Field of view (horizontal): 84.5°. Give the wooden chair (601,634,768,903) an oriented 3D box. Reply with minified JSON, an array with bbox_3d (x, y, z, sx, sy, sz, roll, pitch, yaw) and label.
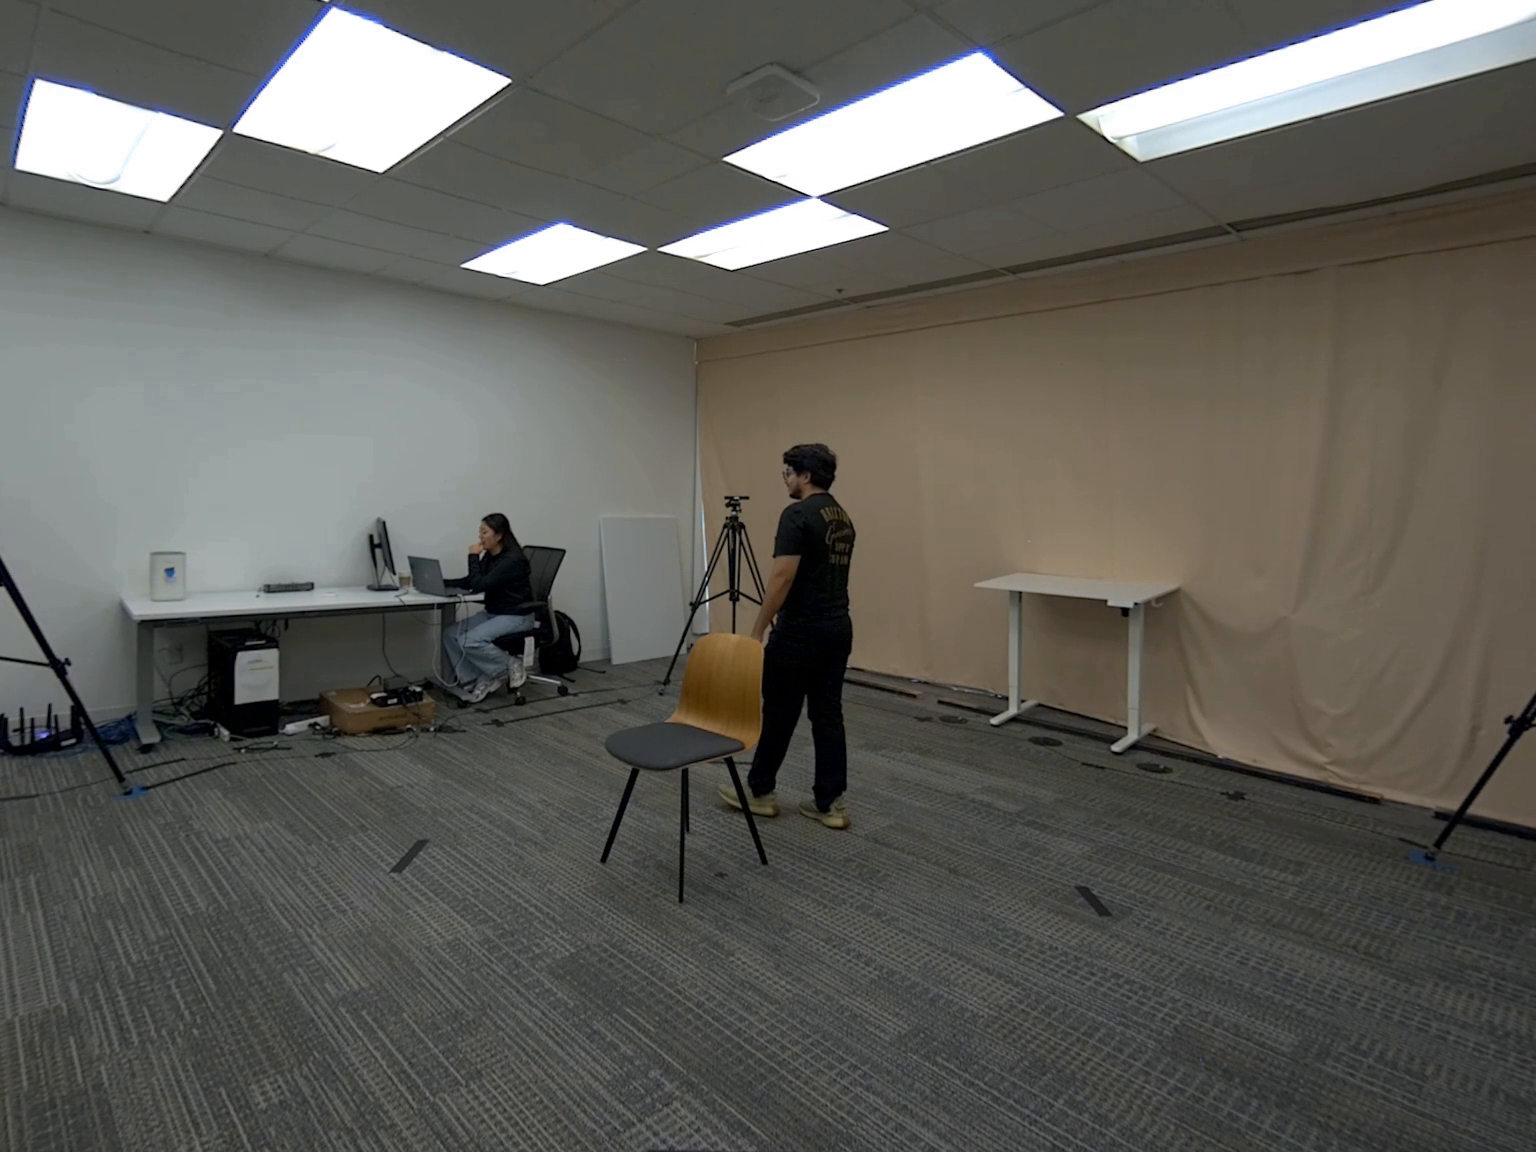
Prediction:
[{"bbox_3d":[-0.320,0.670,3.156,0.490,0.877,0.510,4,0,43],"label":"wooden chair"}]
